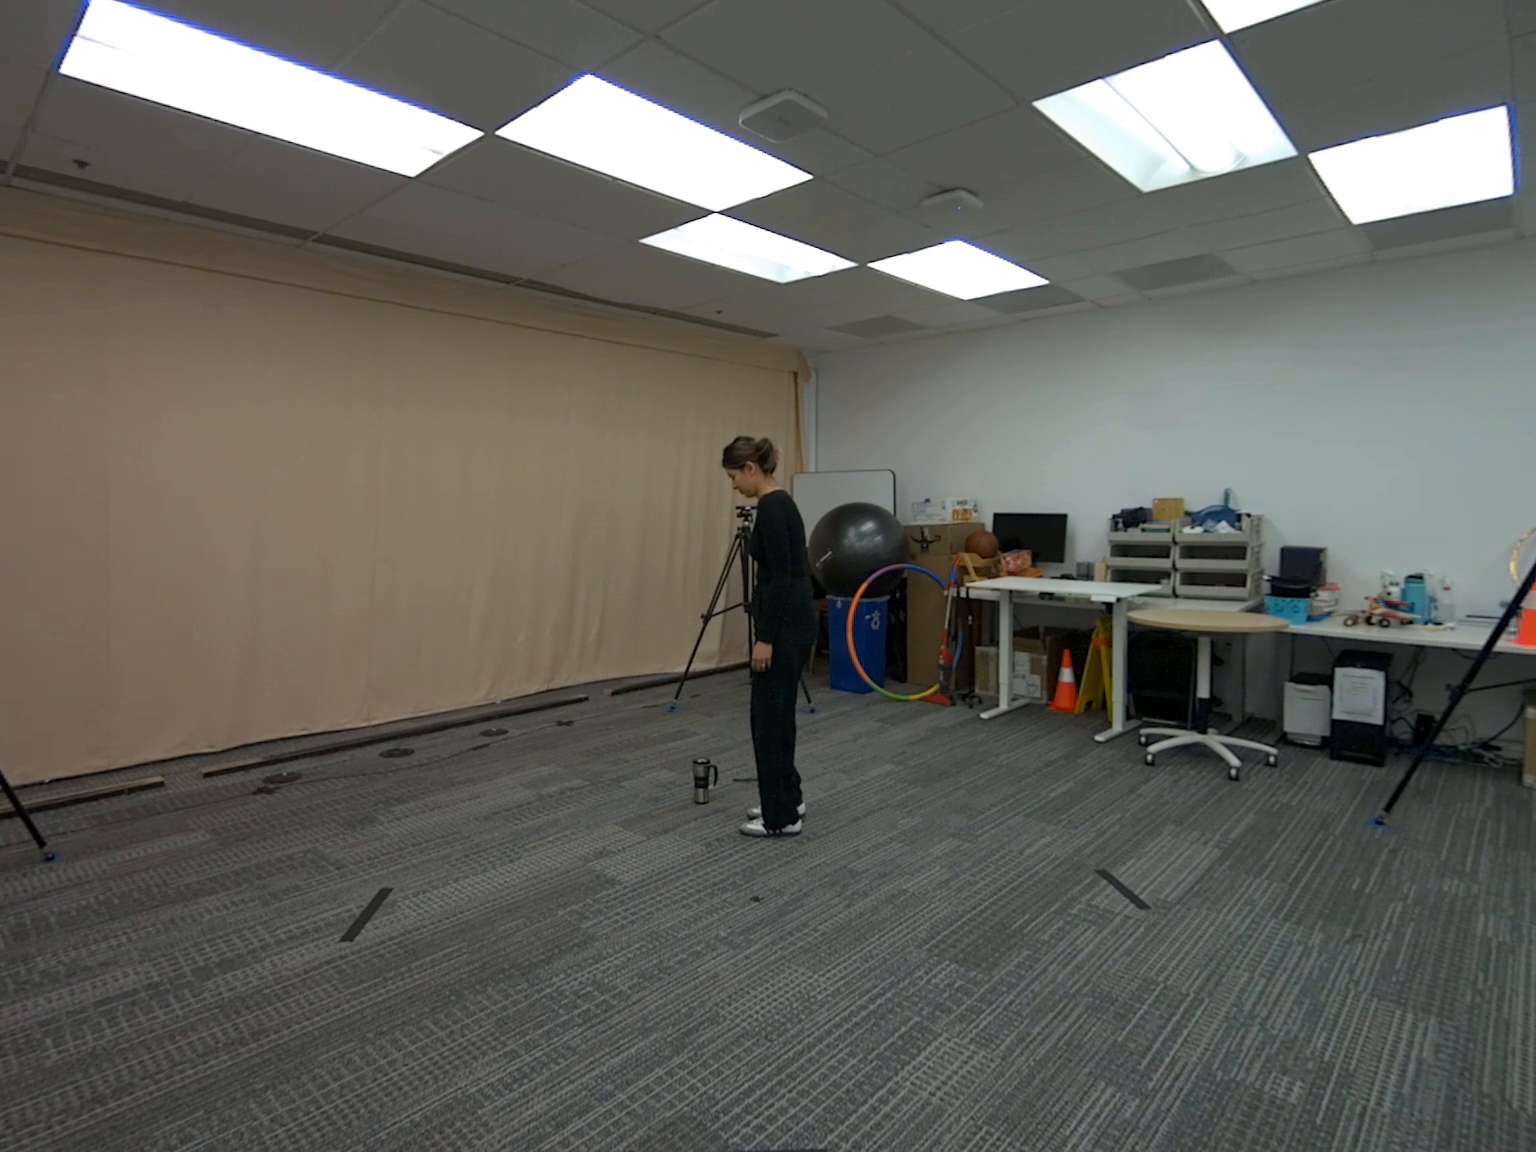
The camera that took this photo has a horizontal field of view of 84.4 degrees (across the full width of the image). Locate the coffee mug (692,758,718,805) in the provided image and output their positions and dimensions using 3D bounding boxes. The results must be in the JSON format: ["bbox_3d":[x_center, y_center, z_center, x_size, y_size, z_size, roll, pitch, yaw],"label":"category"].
[{"bbox_3d":[-0.300,0.972,3.964,0.085,0.203,0.126,5,-5,-40],"label":"coffee mug"}]
